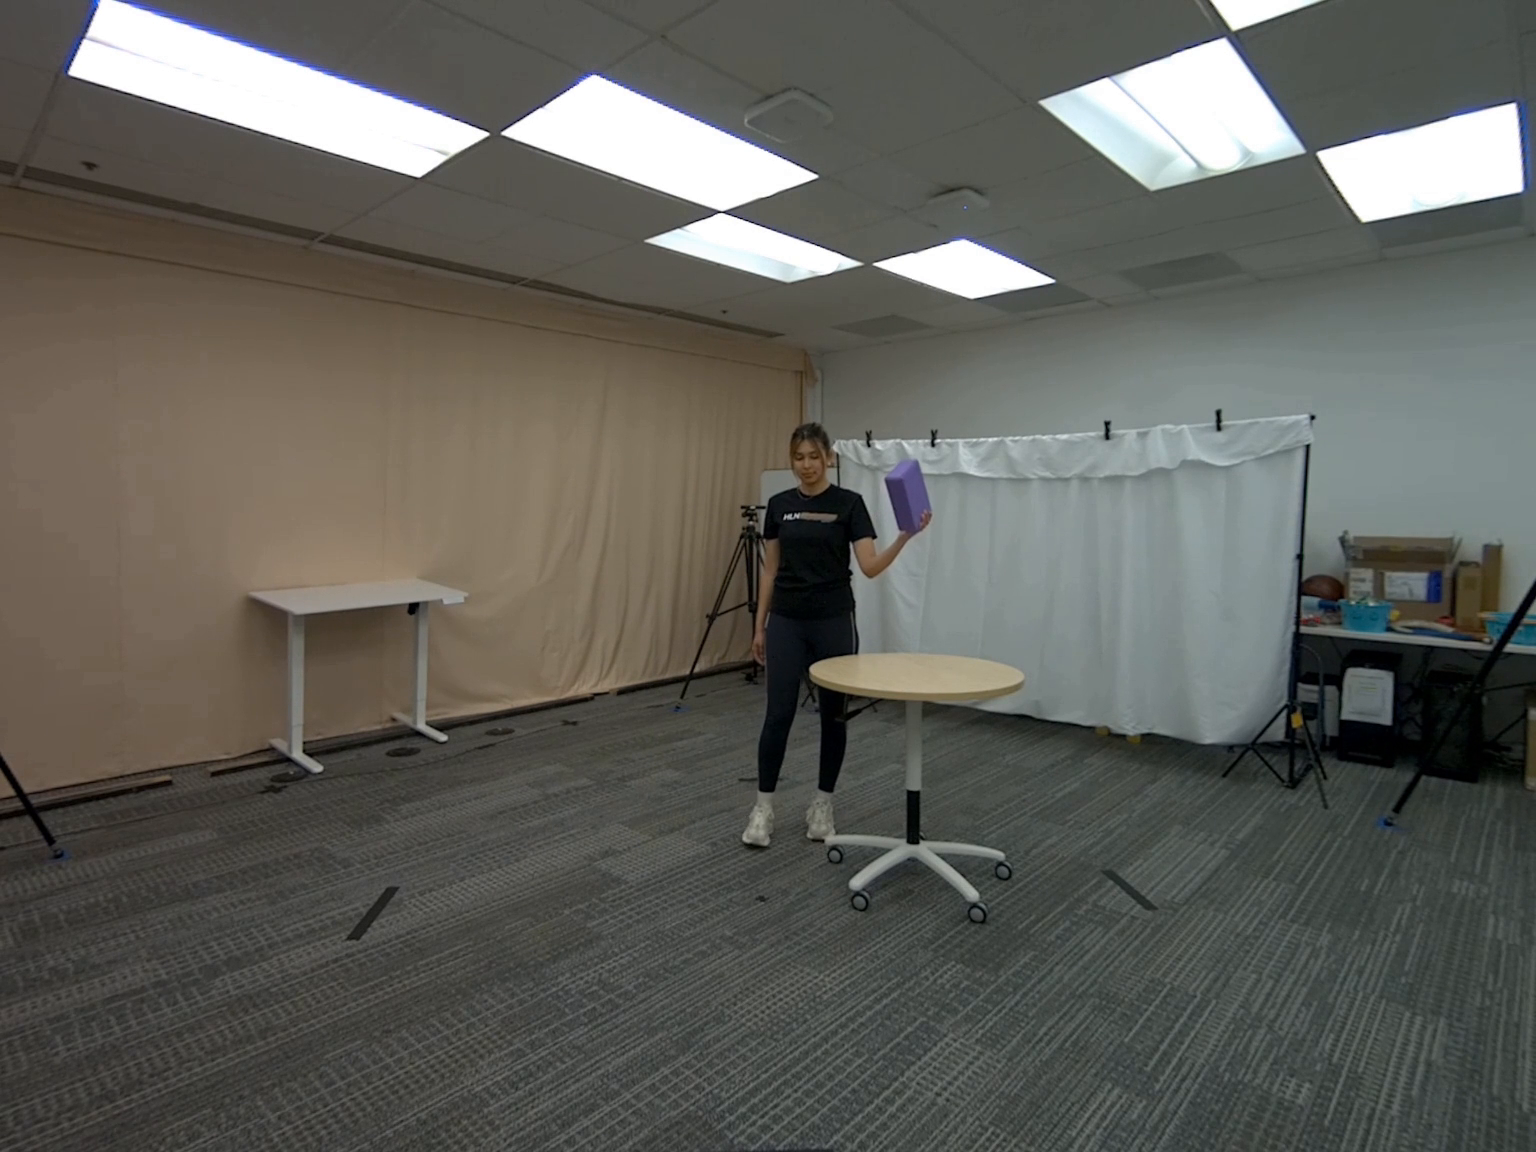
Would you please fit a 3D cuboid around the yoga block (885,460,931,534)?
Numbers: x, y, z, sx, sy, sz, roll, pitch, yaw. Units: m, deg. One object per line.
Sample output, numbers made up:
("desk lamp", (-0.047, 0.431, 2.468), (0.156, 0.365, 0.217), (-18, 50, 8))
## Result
("yoga block", (0.506, -0.297, 3.111), (0.079, 0.224, 0.147), (4, 36, 41))
